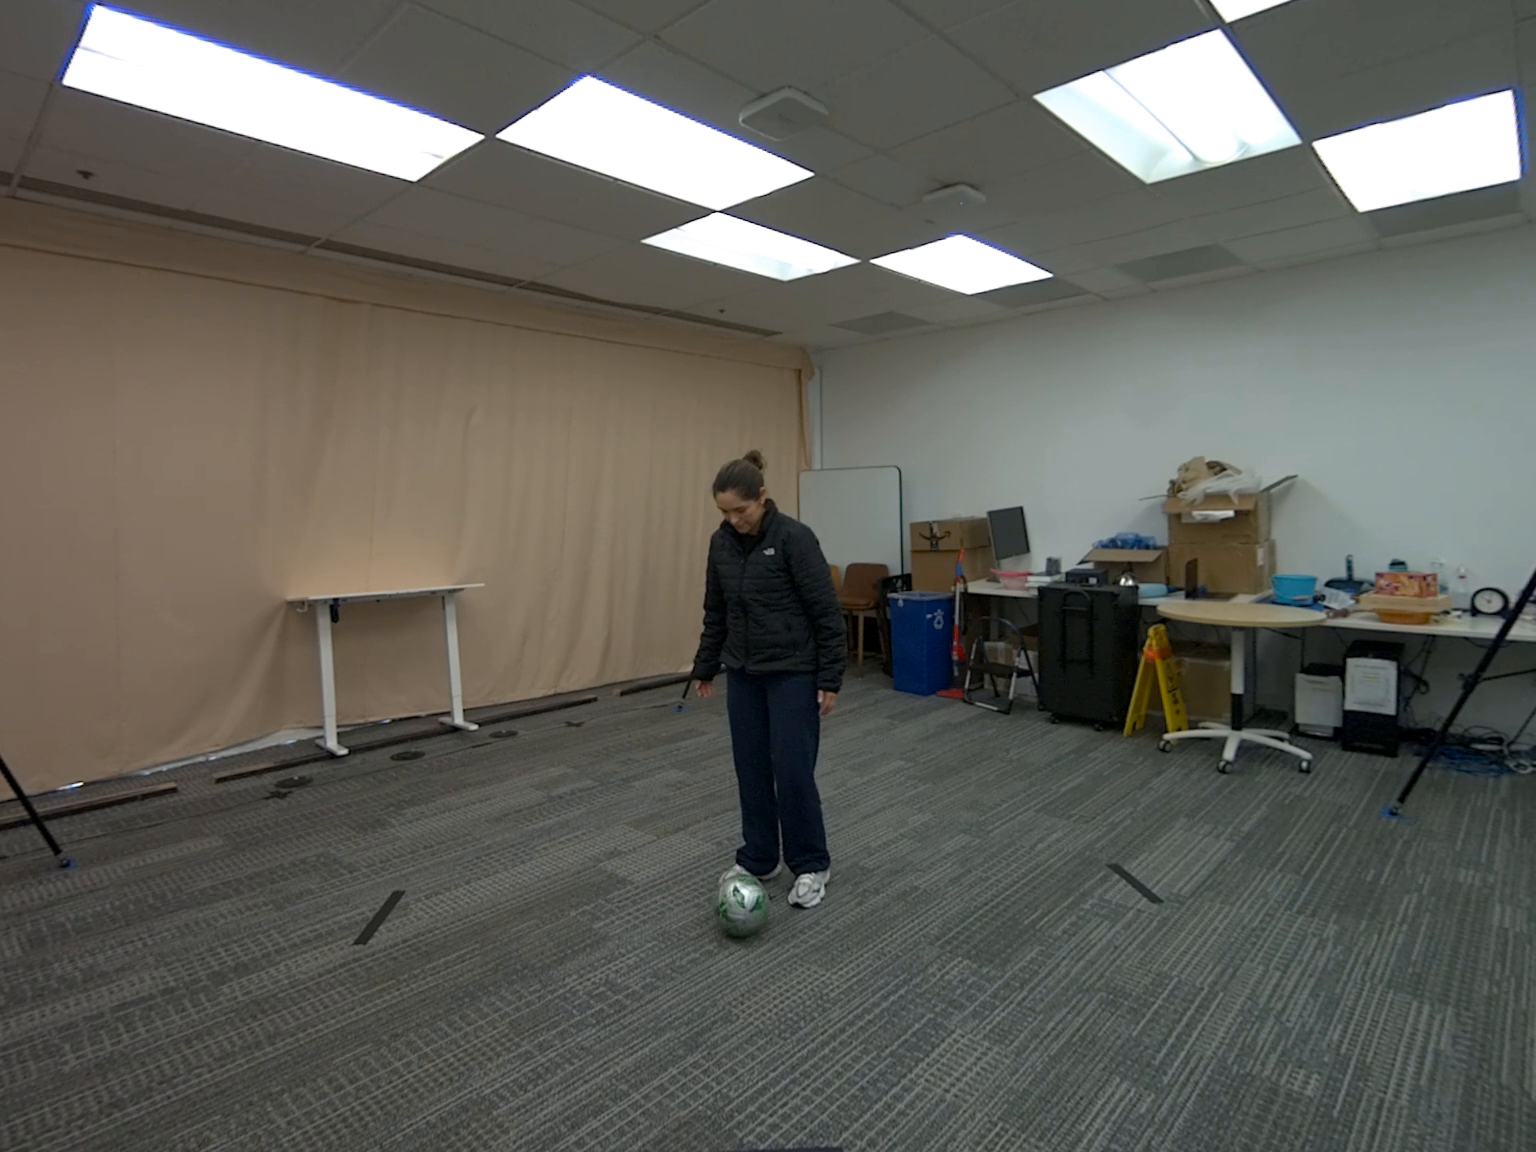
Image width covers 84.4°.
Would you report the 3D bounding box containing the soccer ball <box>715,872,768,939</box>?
[{"bbox_3d":[-0.086,1.064,2.730,0.187,0.187,0.188,-1,4,-2],"label":"soccer ball"}]
